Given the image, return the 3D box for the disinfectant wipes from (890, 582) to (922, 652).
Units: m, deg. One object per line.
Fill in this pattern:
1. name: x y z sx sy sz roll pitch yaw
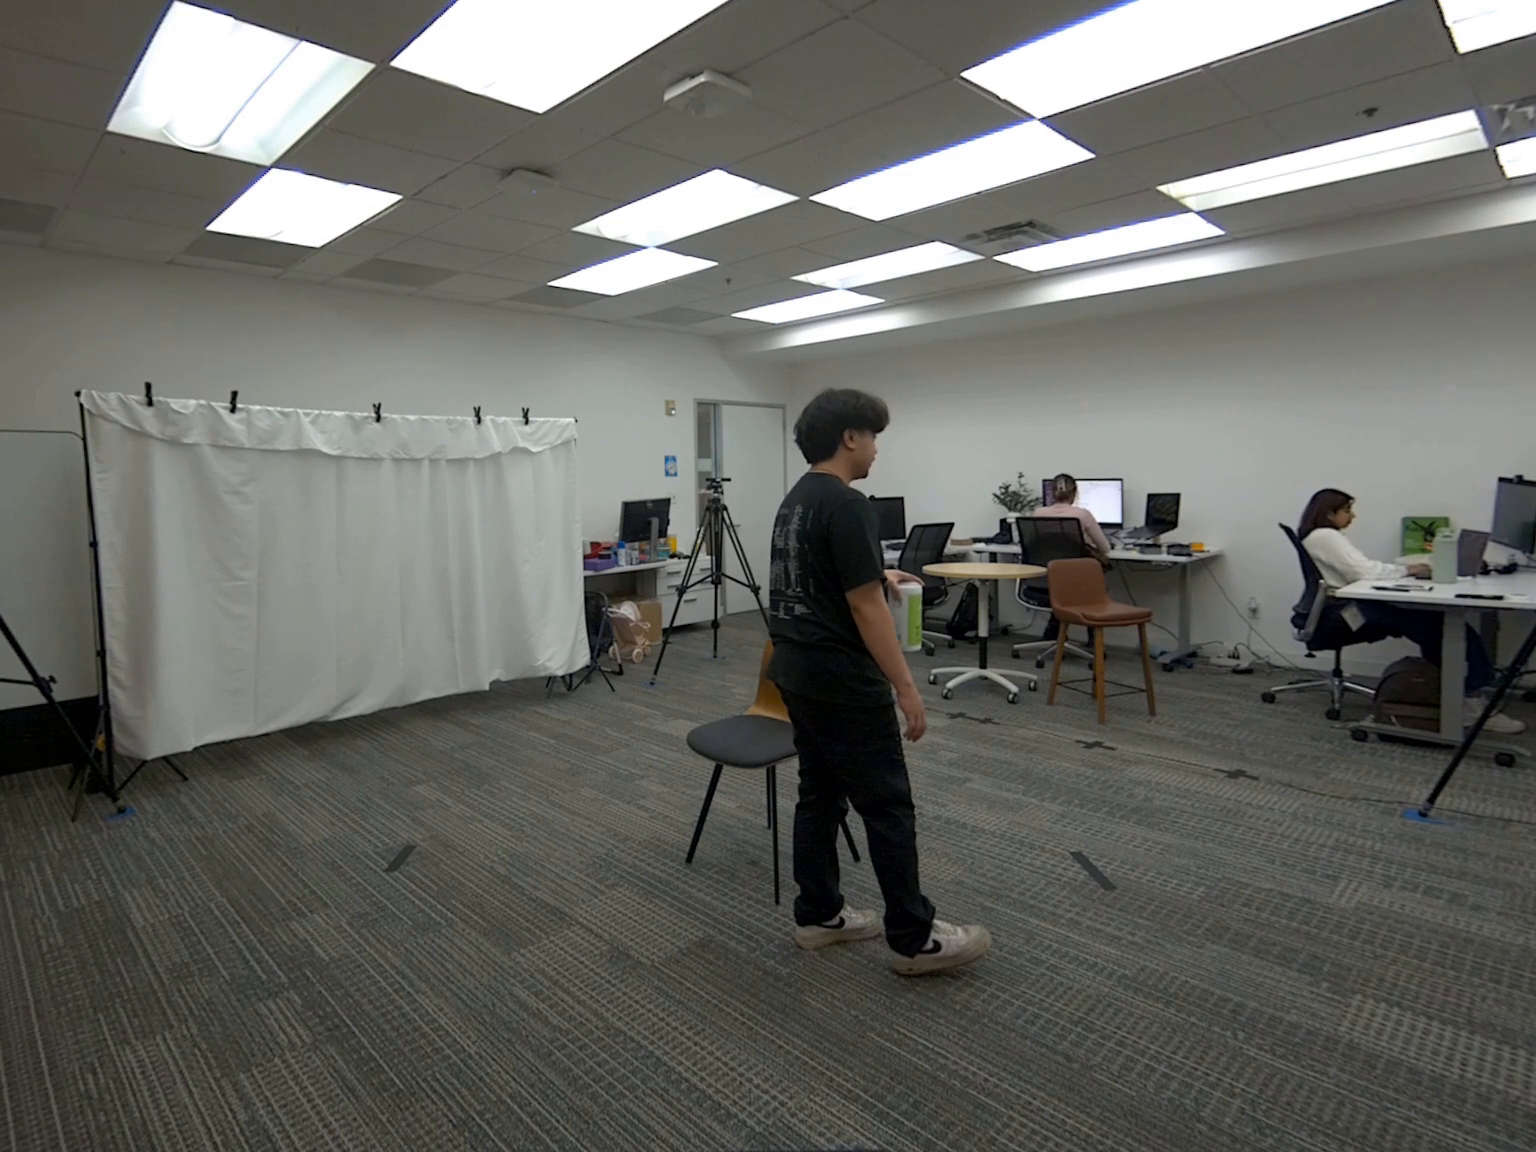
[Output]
1. disinfectant wipes: 0.459 0.134 2.780 0.118 0.216 0.118 1 7 -2
